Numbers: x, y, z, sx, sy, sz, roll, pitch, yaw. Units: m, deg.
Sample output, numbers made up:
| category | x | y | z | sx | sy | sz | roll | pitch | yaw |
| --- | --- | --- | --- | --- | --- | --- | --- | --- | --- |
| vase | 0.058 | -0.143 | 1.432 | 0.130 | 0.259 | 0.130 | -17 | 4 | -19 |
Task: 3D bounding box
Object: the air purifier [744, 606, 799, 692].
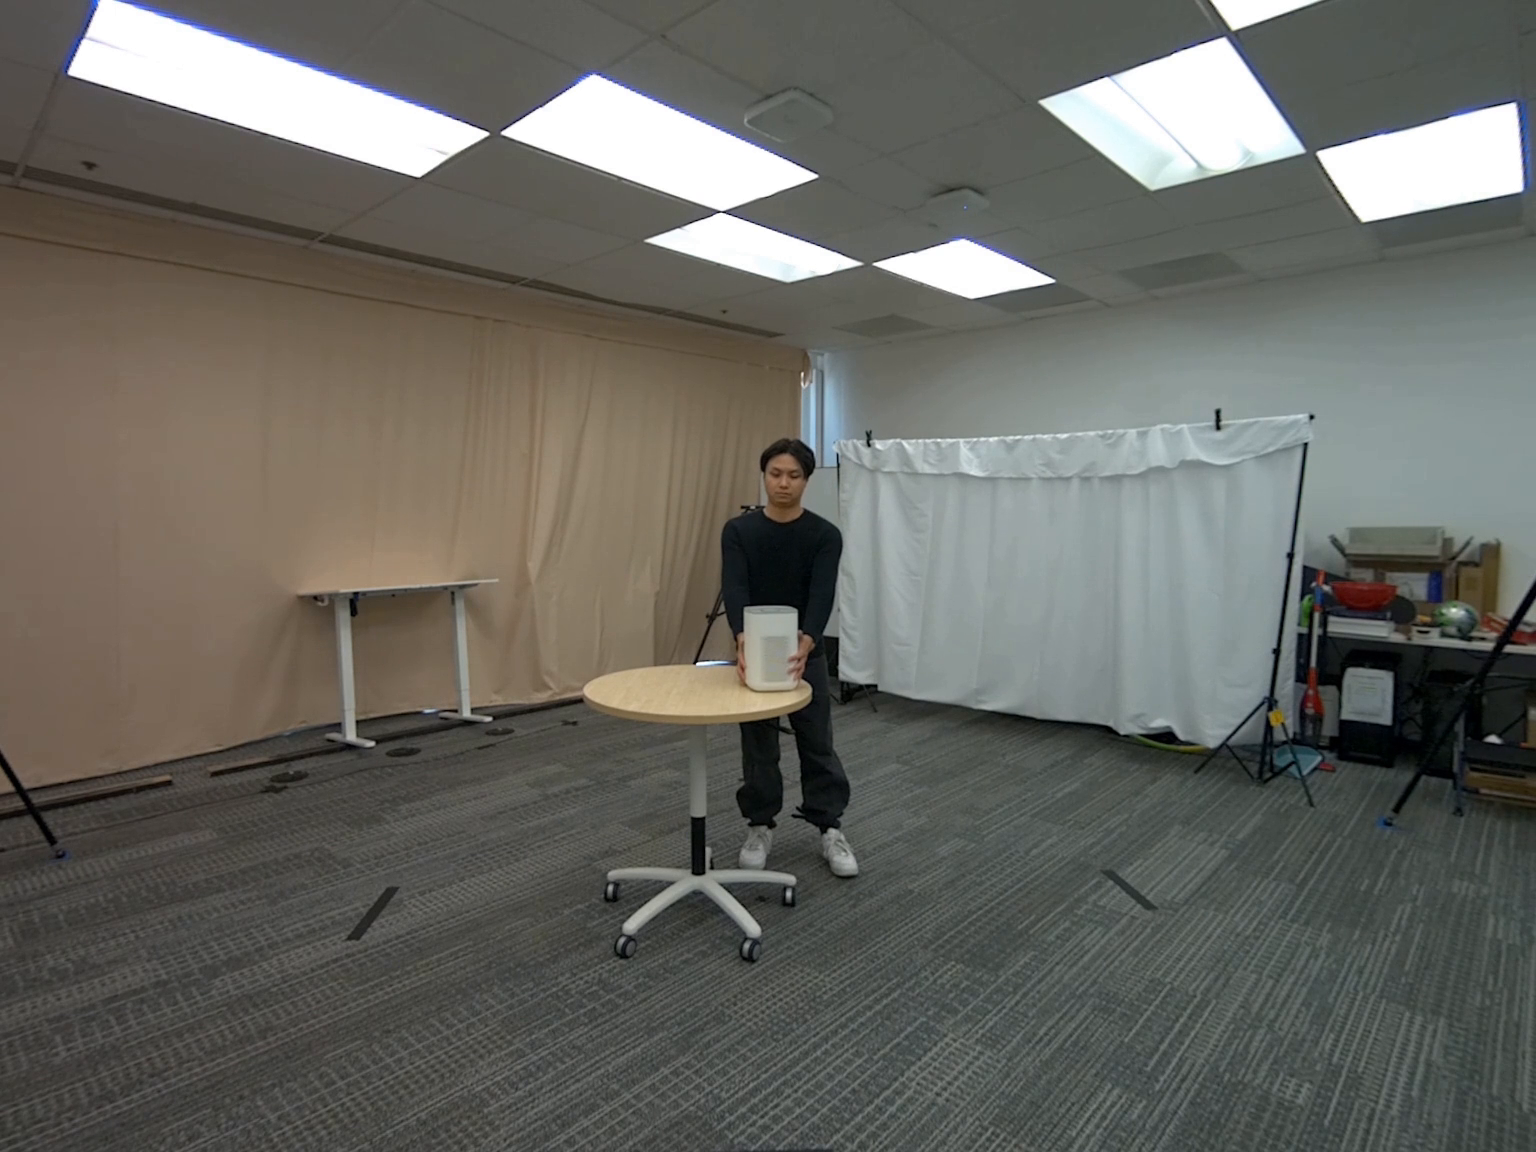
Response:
| category | x | y | z | sx | sy | sz | roll | pitch | yaw |
| --- | --- | --- | --- | --- | --- | --- | --- | --- | --- |
| air purifier | 0.011 | 0.240 | 2.826 | 0.171 | 0.265 | 0.172 | 0 | 3 | -5 |
